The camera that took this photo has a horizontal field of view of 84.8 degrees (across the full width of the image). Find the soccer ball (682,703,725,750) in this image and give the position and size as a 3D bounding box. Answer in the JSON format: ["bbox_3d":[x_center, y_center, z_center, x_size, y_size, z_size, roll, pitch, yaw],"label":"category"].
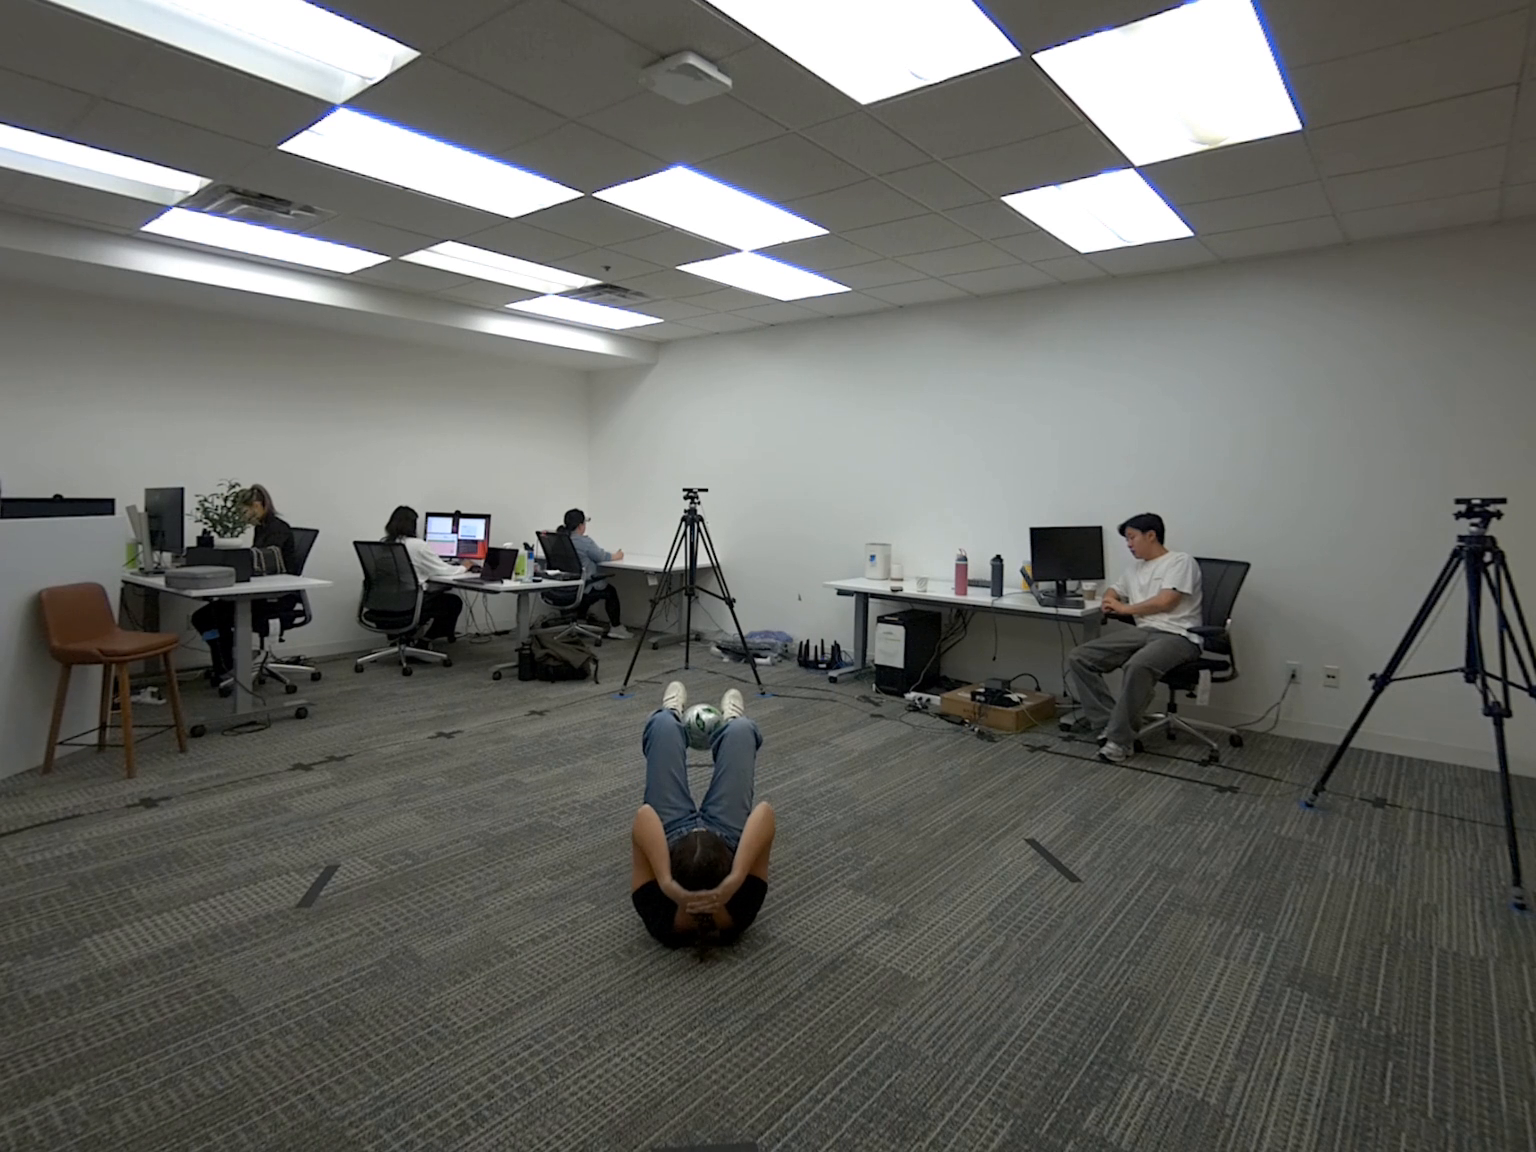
[{"bbox_3d":[-0.280,0.608,3.470,0.187,0.187,0.188,-3,4,-2],"label":"soccer ball"}]
